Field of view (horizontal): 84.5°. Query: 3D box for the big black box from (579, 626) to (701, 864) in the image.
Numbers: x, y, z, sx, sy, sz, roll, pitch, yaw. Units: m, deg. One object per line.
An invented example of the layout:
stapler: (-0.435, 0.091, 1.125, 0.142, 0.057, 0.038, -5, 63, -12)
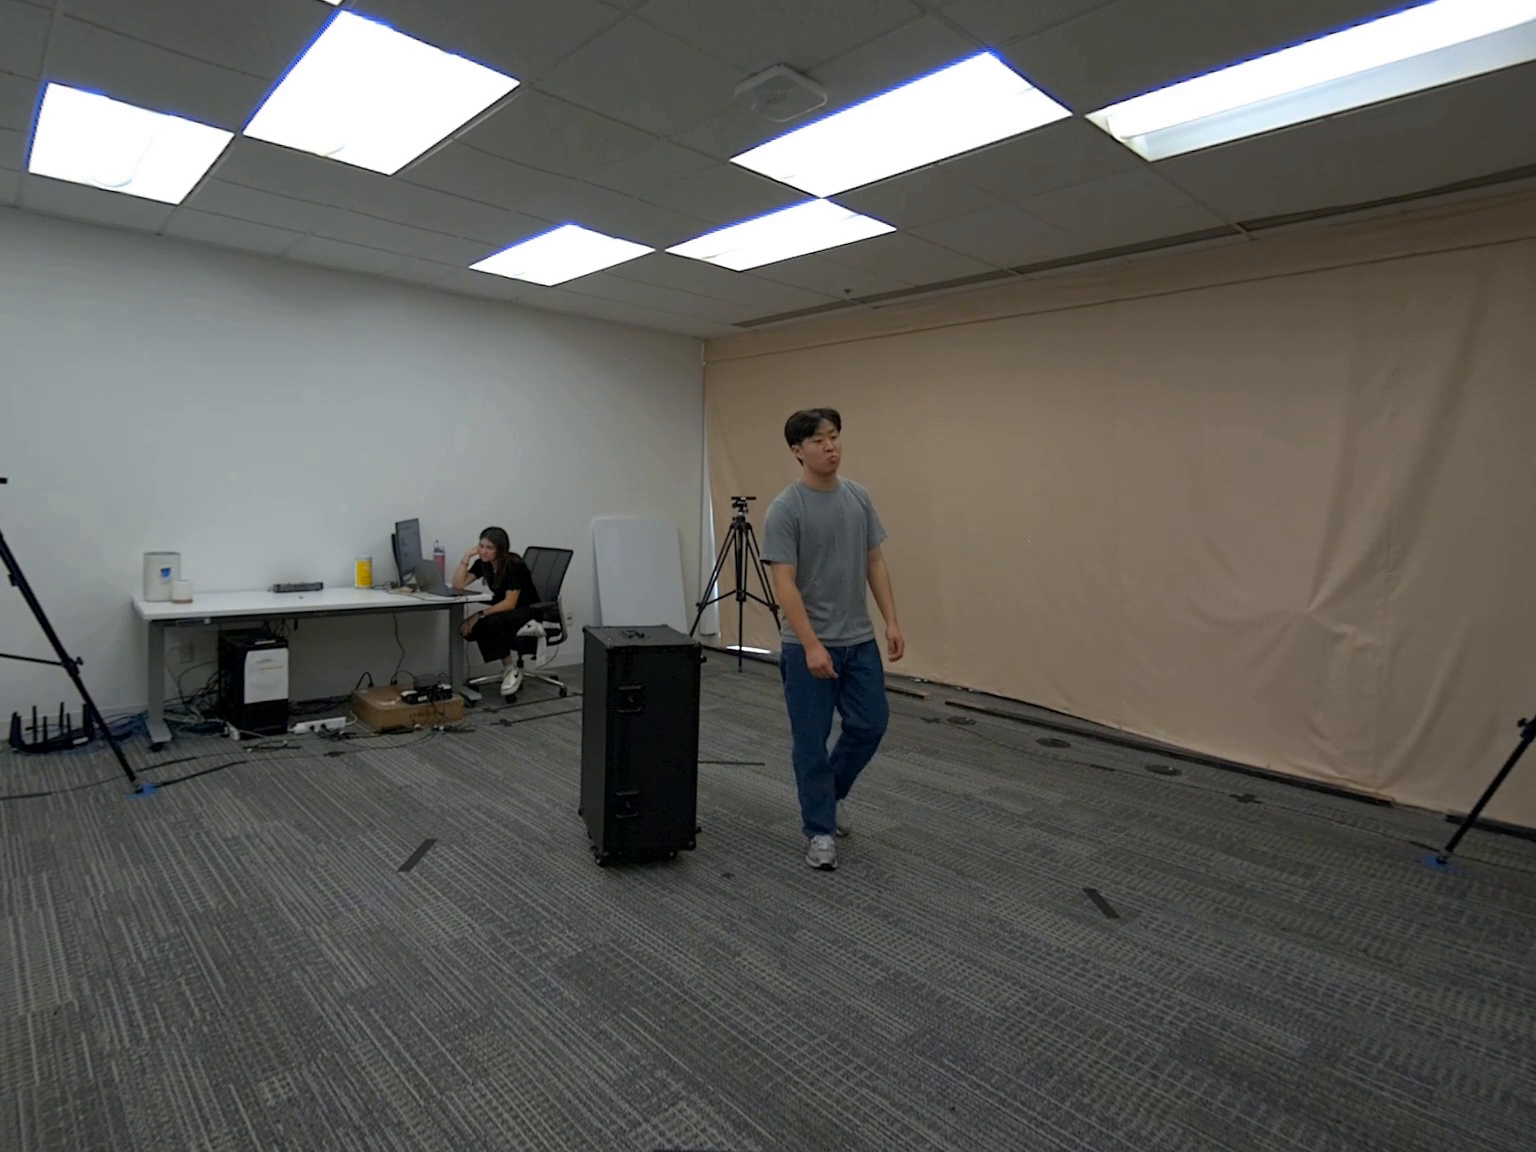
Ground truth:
big black box: (-0.513, 0.653, 3.310, 0.390, 0.860, 0.530, 2, 2, -22)
